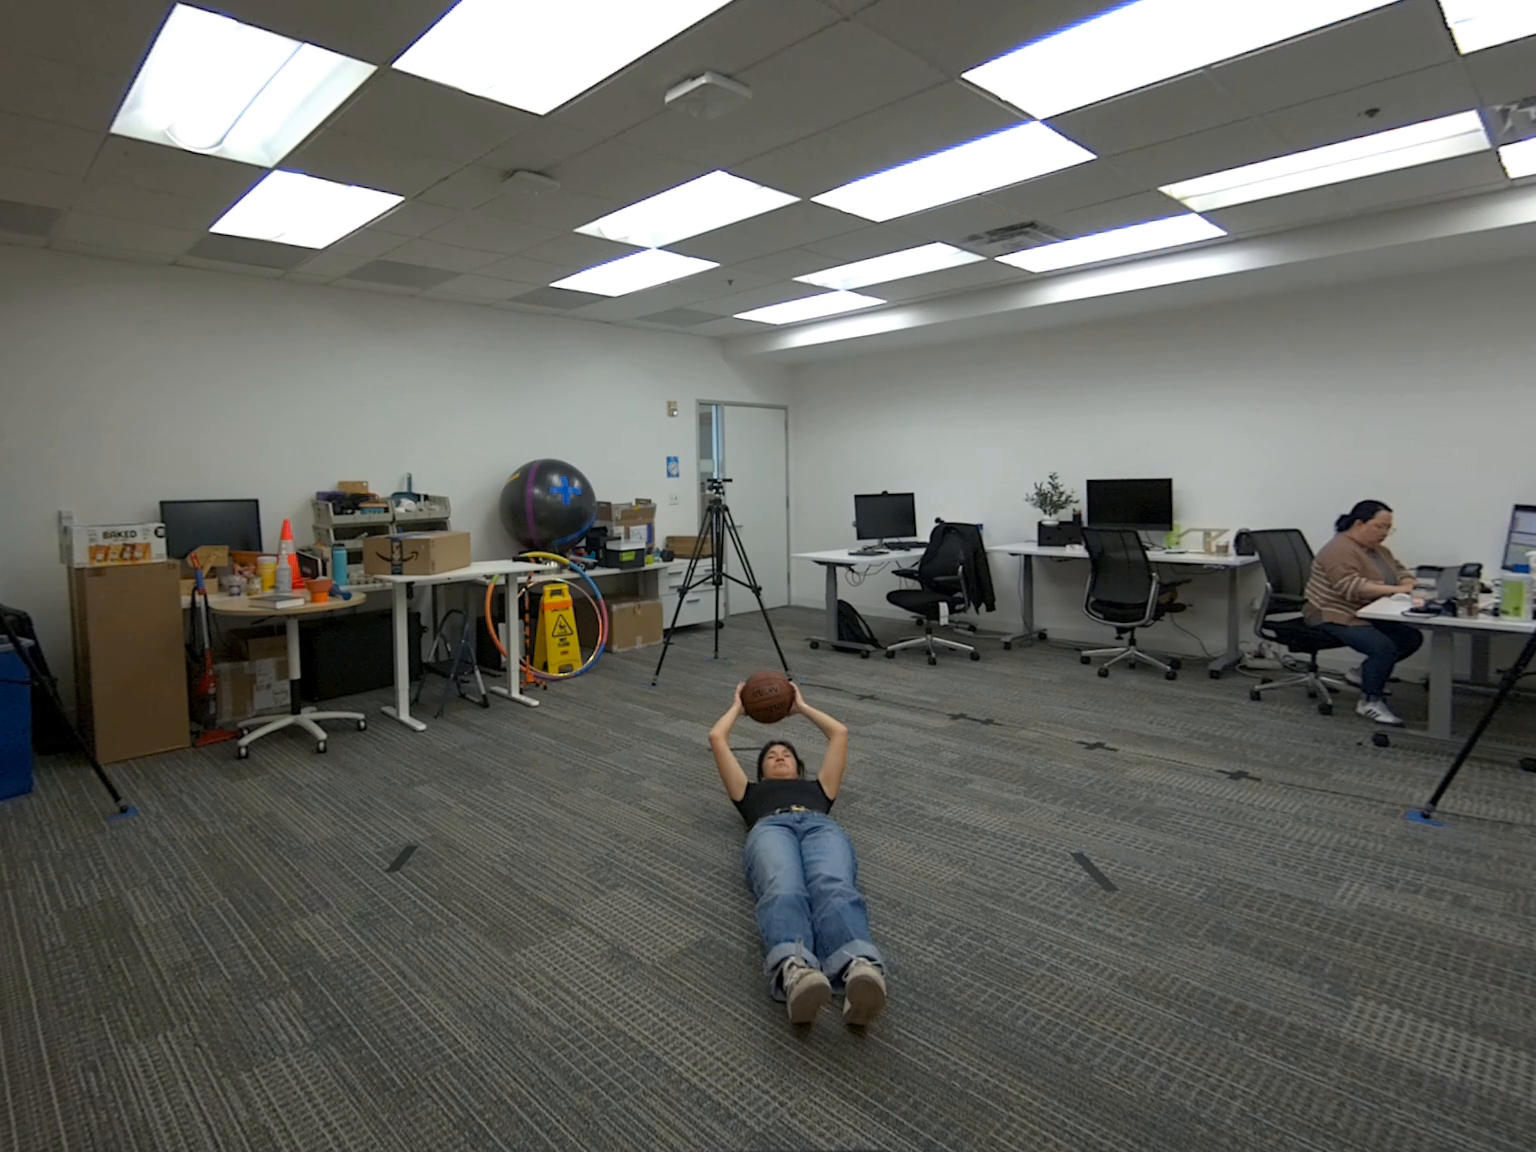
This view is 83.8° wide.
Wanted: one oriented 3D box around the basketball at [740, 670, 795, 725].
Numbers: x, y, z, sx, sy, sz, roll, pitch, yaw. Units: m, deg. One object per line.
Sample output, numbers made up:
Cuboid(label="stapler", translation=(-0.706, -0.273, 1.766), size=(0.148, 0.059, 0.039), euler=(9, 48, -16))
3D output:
Cuboid(label="basketball", translation=(-0.004, 0.542, 3.808), size=(0.236, 0.235, 0.237), euler=(-1, 5, -2))
